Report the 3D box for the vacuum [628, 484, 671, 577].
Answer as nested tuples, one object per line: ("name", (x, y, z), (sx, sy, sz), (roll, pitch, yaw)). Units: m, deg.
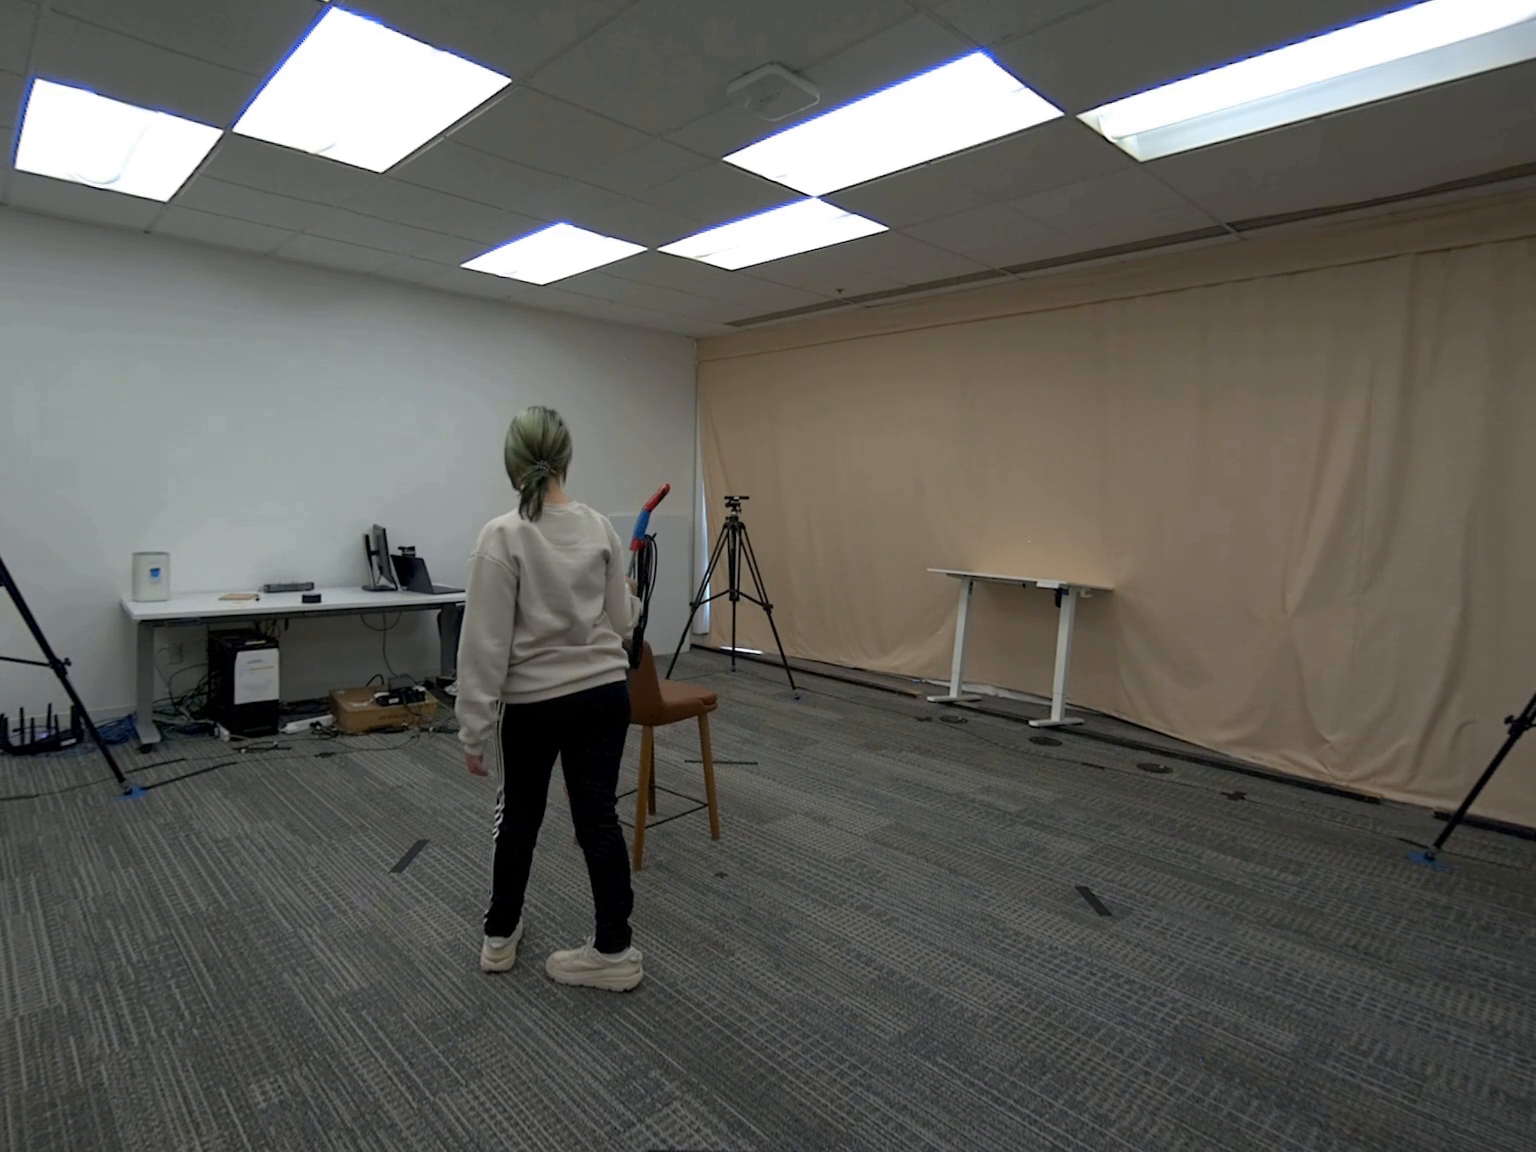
("vacuum", (-0.470, 0.214, 2.755), (0.141, 1.049, 0.258), (13, 1, -29))
